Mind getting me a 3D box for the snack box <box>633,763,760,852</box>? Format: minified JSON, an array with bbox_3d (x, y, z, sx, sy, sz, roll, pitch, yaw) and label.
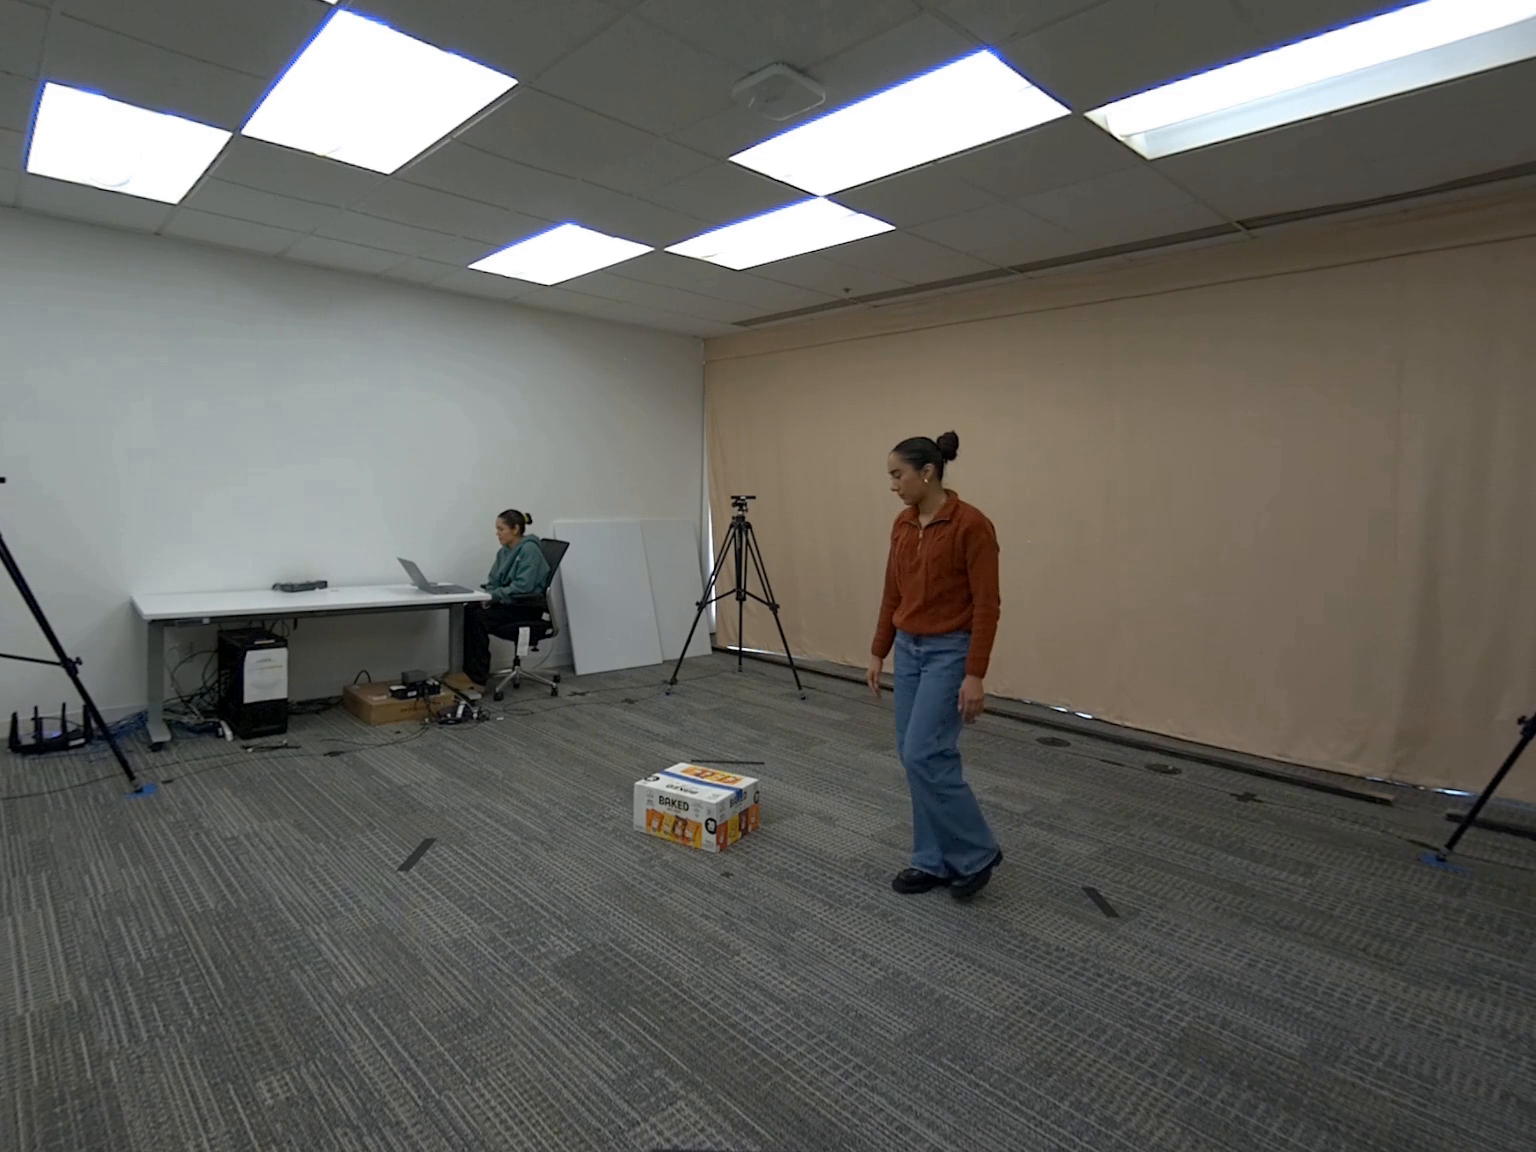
[{"bbox_3d":[-0.305,0.960,3.525,0.414,0.205,0.334,4,5,30],"label":"snack box"}]
